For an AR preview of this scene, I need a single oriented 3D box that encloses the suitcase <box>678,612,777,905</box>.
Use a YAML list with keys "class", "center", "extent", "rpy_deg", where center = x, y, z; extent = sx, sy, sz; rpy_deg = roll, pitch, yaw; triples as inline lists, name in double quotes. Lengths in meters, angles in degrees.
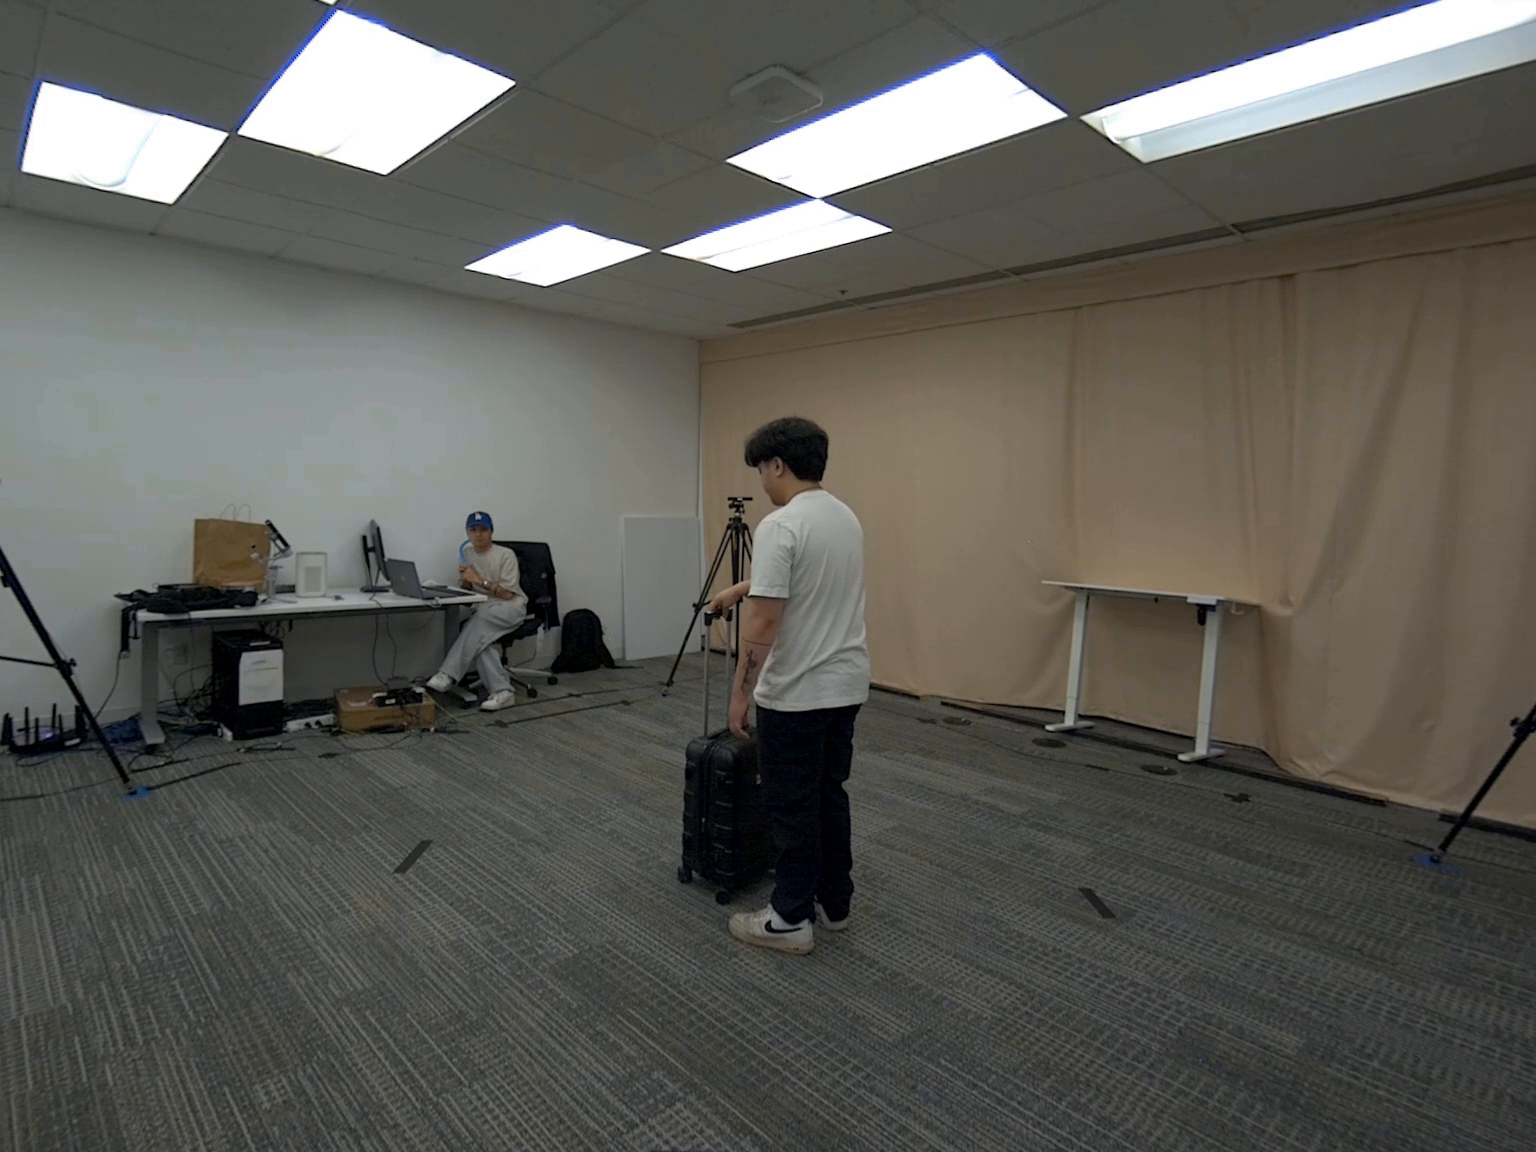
- class: "suitcase"
  center: [-0.115, 0.637, 3.052]
  extent: [0.264, 0.975, 0.376]
  rpy_deg: [7, 7, 38]
